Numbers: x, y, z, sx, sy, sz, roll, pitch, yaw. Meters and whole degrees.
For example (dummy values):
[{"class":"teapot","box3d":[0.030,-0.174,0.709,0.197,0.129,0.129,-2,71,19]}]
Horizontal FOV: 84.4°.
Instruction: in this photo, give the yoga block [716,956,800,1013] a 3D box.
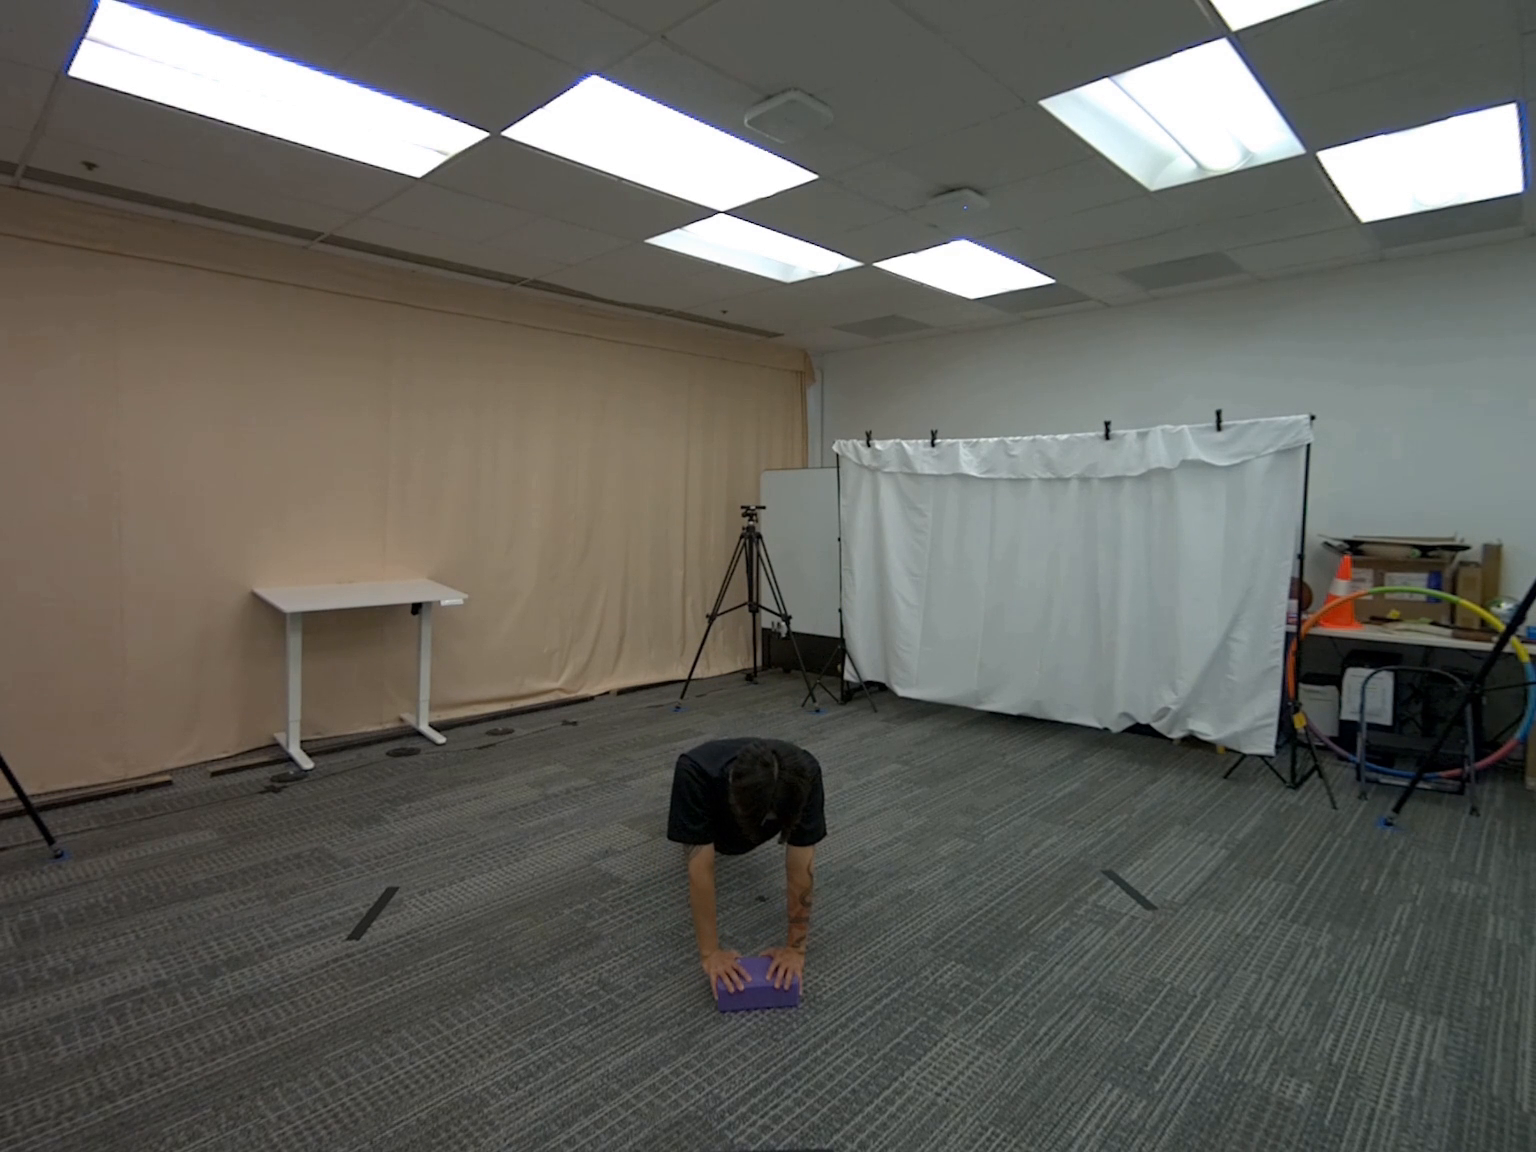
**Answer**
[{"class":"yoga block","box3d":[-0.037,1.149,2.396,0.227,0.076,0.150,0,4,-8]}]
